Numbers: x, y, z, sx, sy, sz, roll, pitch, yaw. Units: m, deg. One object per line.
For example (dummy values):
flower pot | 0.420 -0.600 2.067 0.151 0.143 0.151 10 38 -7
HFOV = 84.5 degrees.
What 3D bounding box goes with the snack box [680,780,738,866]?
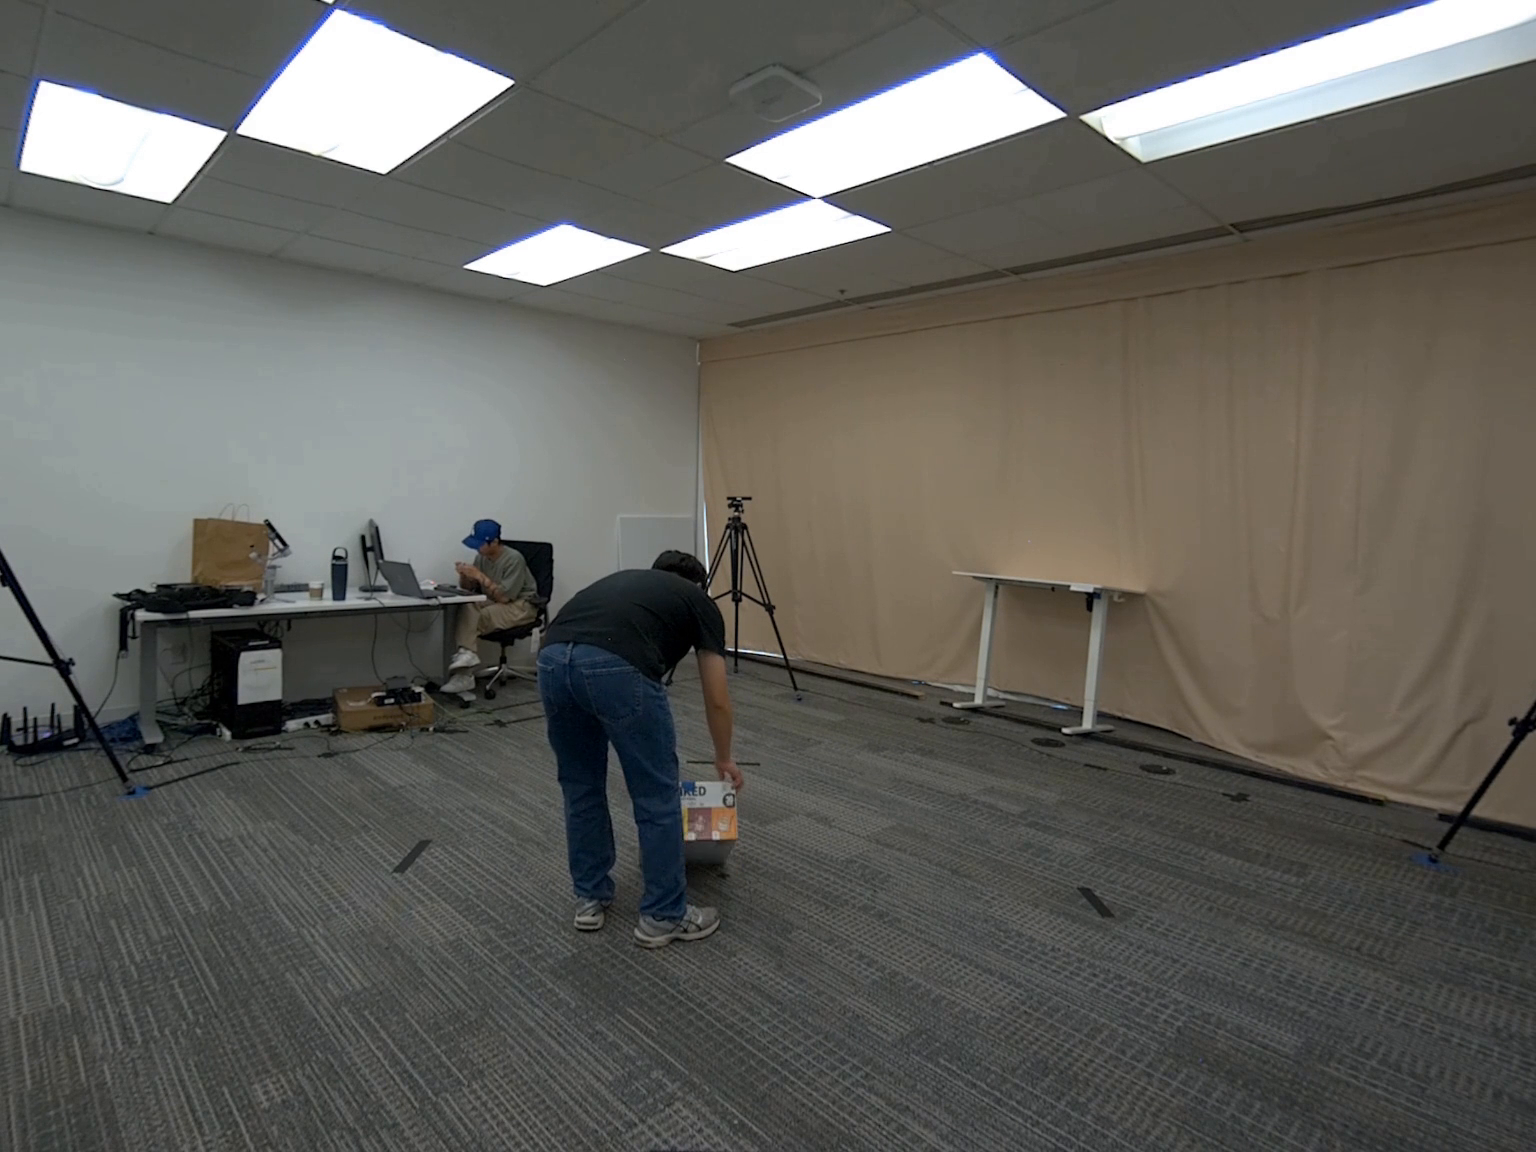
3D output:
snack box | -0.312 0.913 3.077 0.338 0.210 0.399 2 -30 -7
